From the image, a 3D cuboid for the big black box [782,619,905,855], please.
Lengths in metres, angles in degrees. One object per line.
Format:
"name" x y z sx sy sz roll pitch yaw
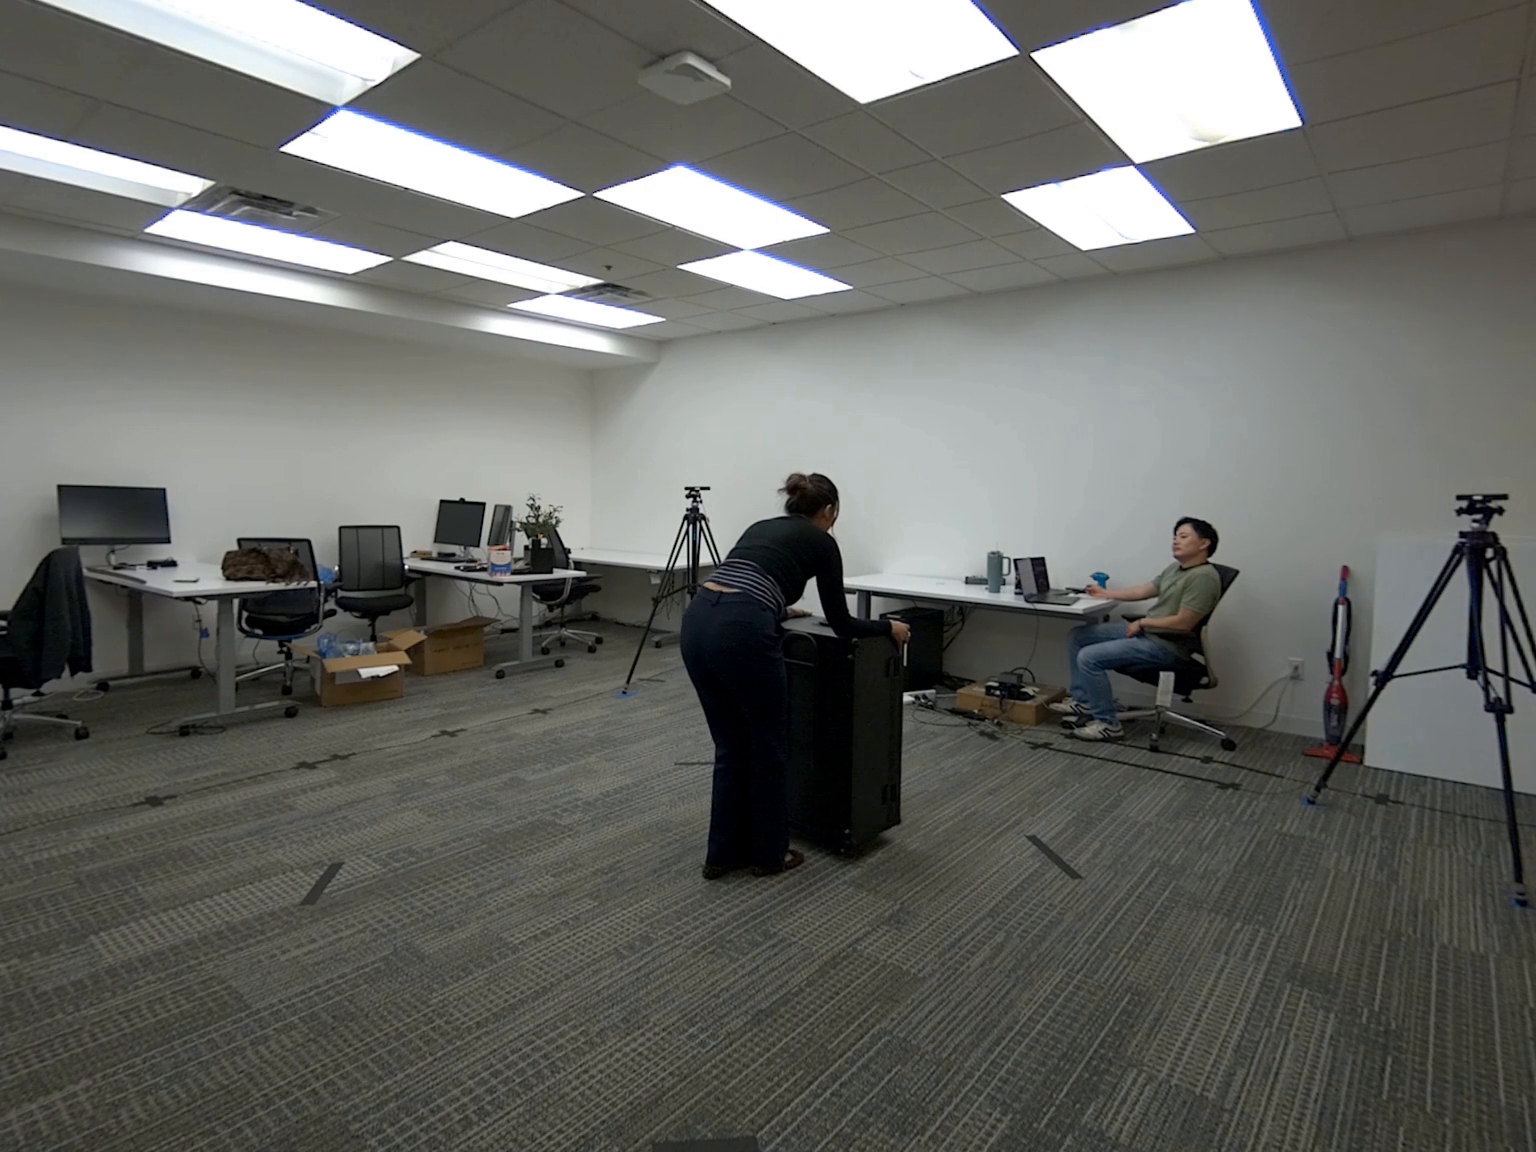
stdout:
"big black box" 0.229 0.620 3.388 0.539 0.858 0.385 4 6 41
